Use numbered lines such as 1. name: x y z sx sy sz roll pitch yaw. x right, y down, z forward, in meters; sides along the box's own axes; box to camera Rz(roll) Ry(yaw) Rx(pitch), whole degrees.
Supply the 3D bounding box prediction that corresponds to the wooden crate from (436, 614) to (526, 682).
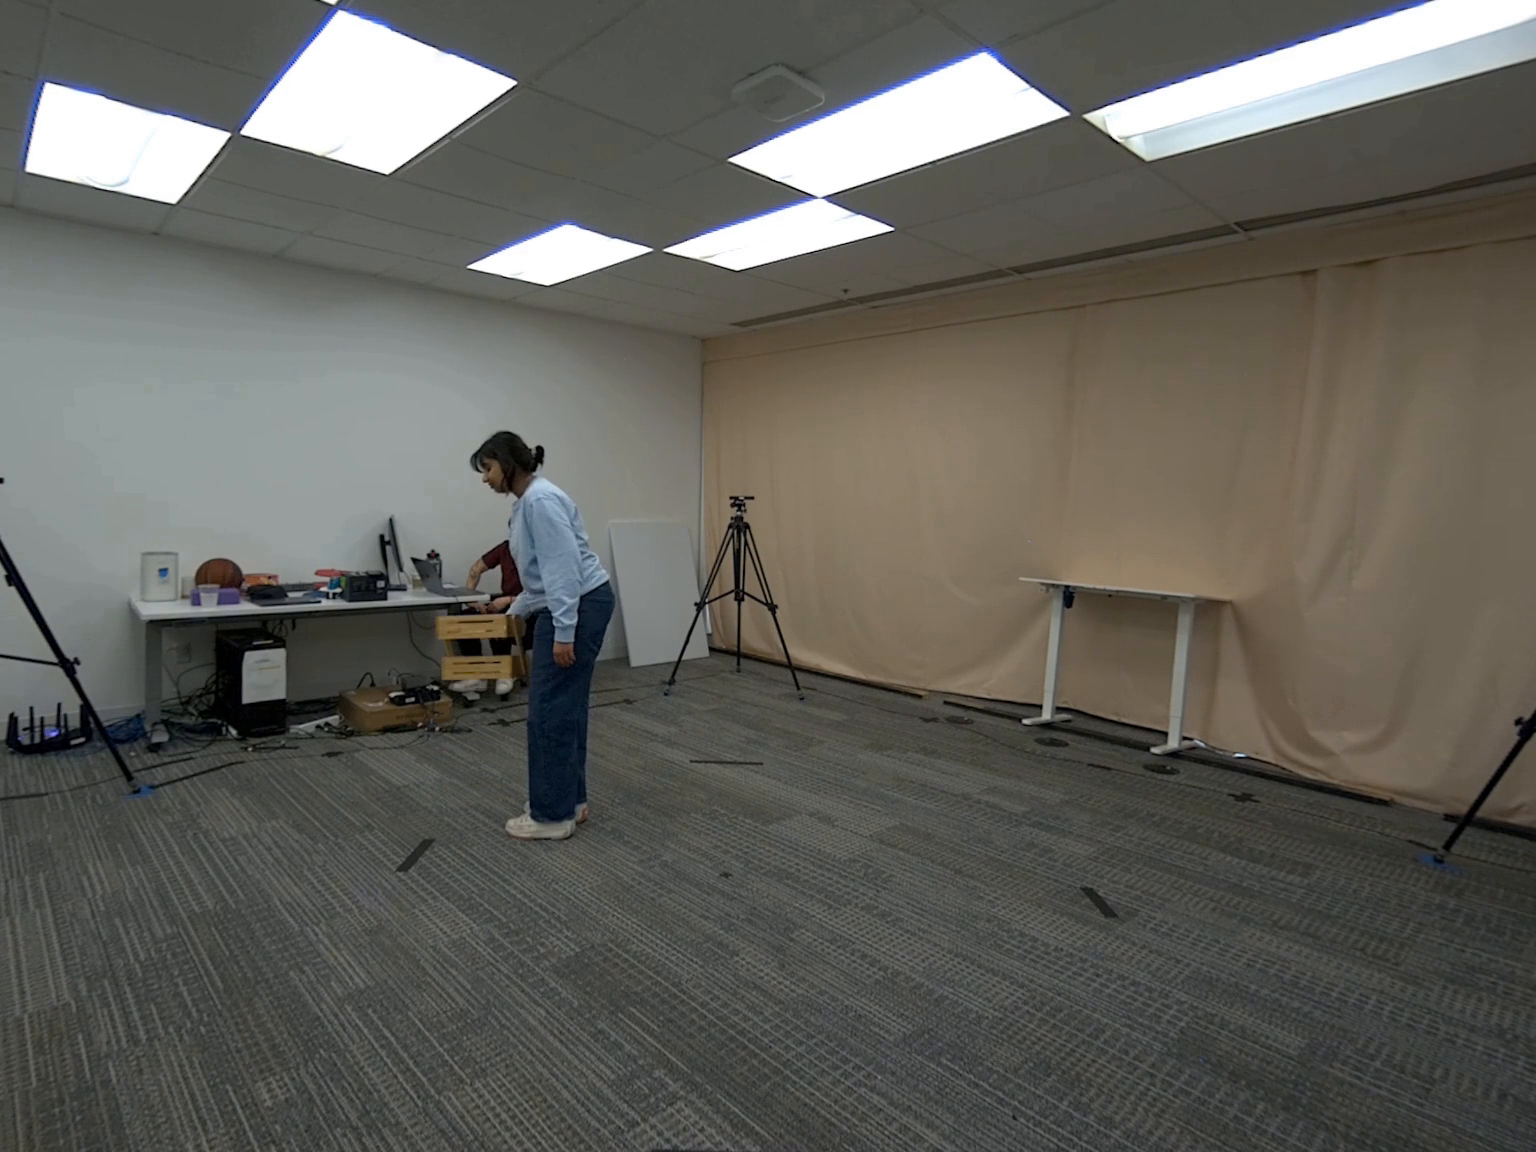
1. wooden crate: -1.189 0.298 3.546 0.326 0.275 0.299 -3 -6 5
